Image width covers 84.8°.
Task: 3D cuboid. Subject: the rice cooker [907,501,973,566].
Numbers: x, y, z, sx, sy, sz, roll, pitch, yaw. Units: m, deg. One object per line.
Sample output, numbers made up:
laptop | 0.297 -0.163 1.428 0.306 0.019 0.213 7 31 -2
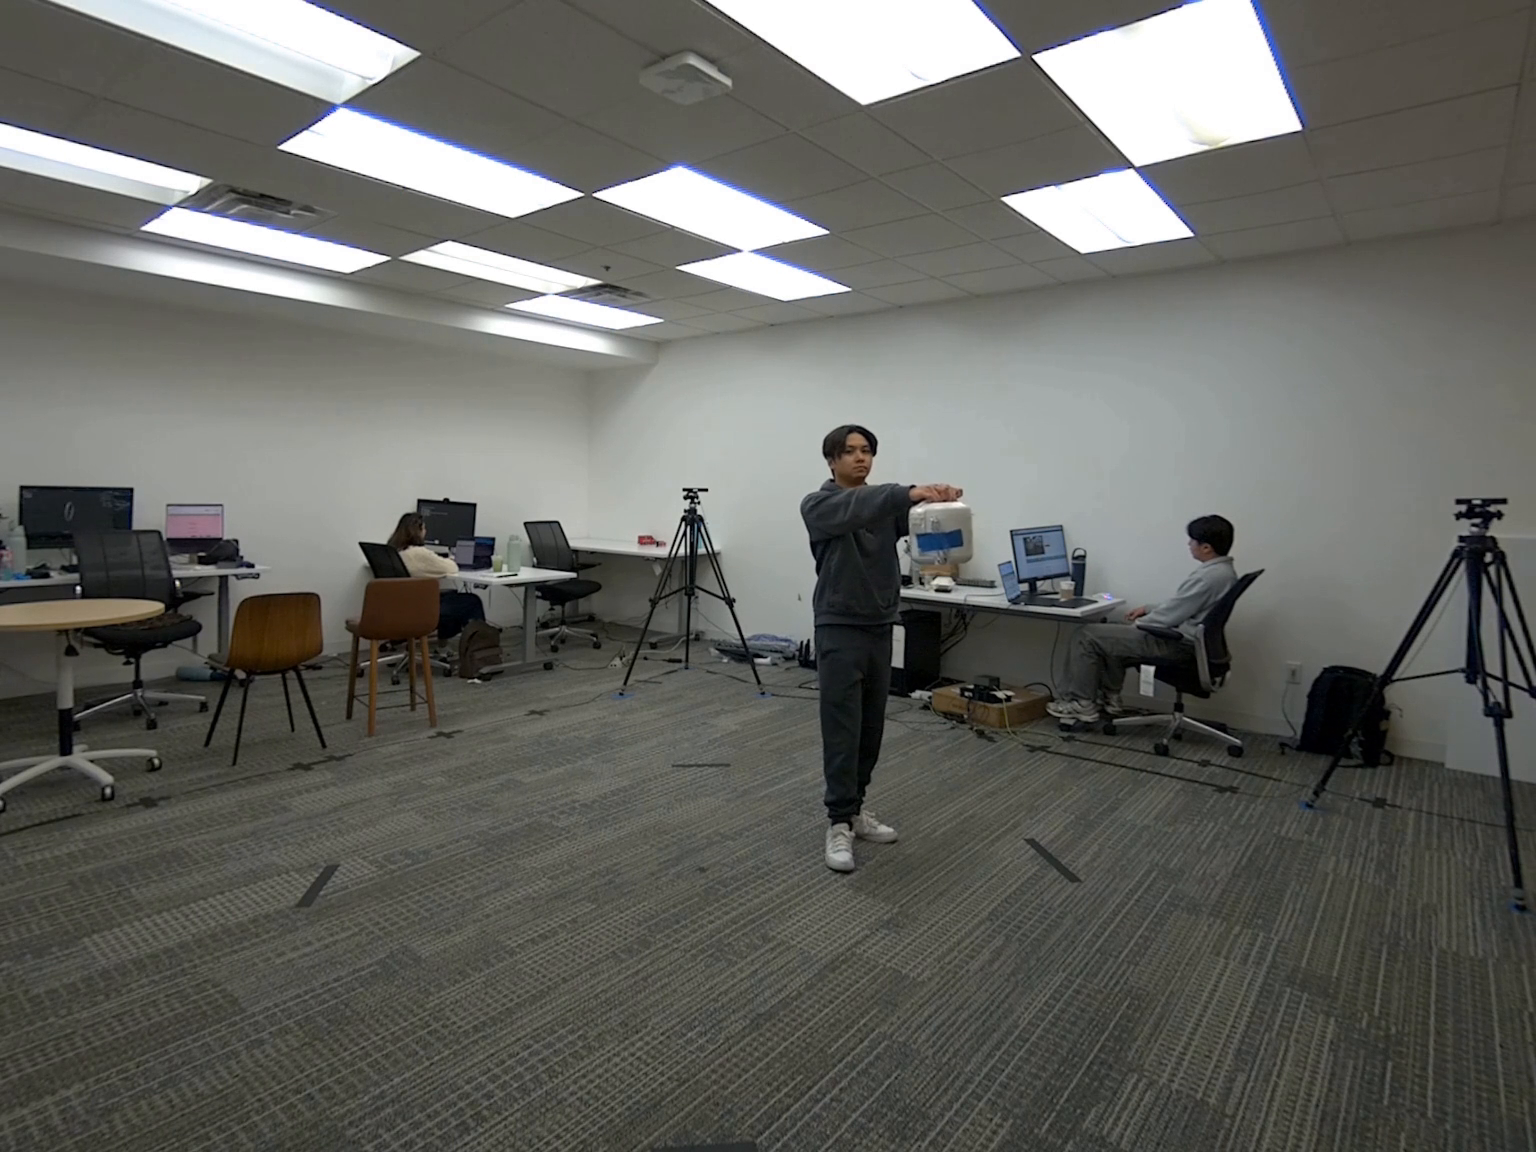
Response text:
rice cooker | 0.574 -0.160 2.895 0.215 0.232 0.224 -4 4 -30
